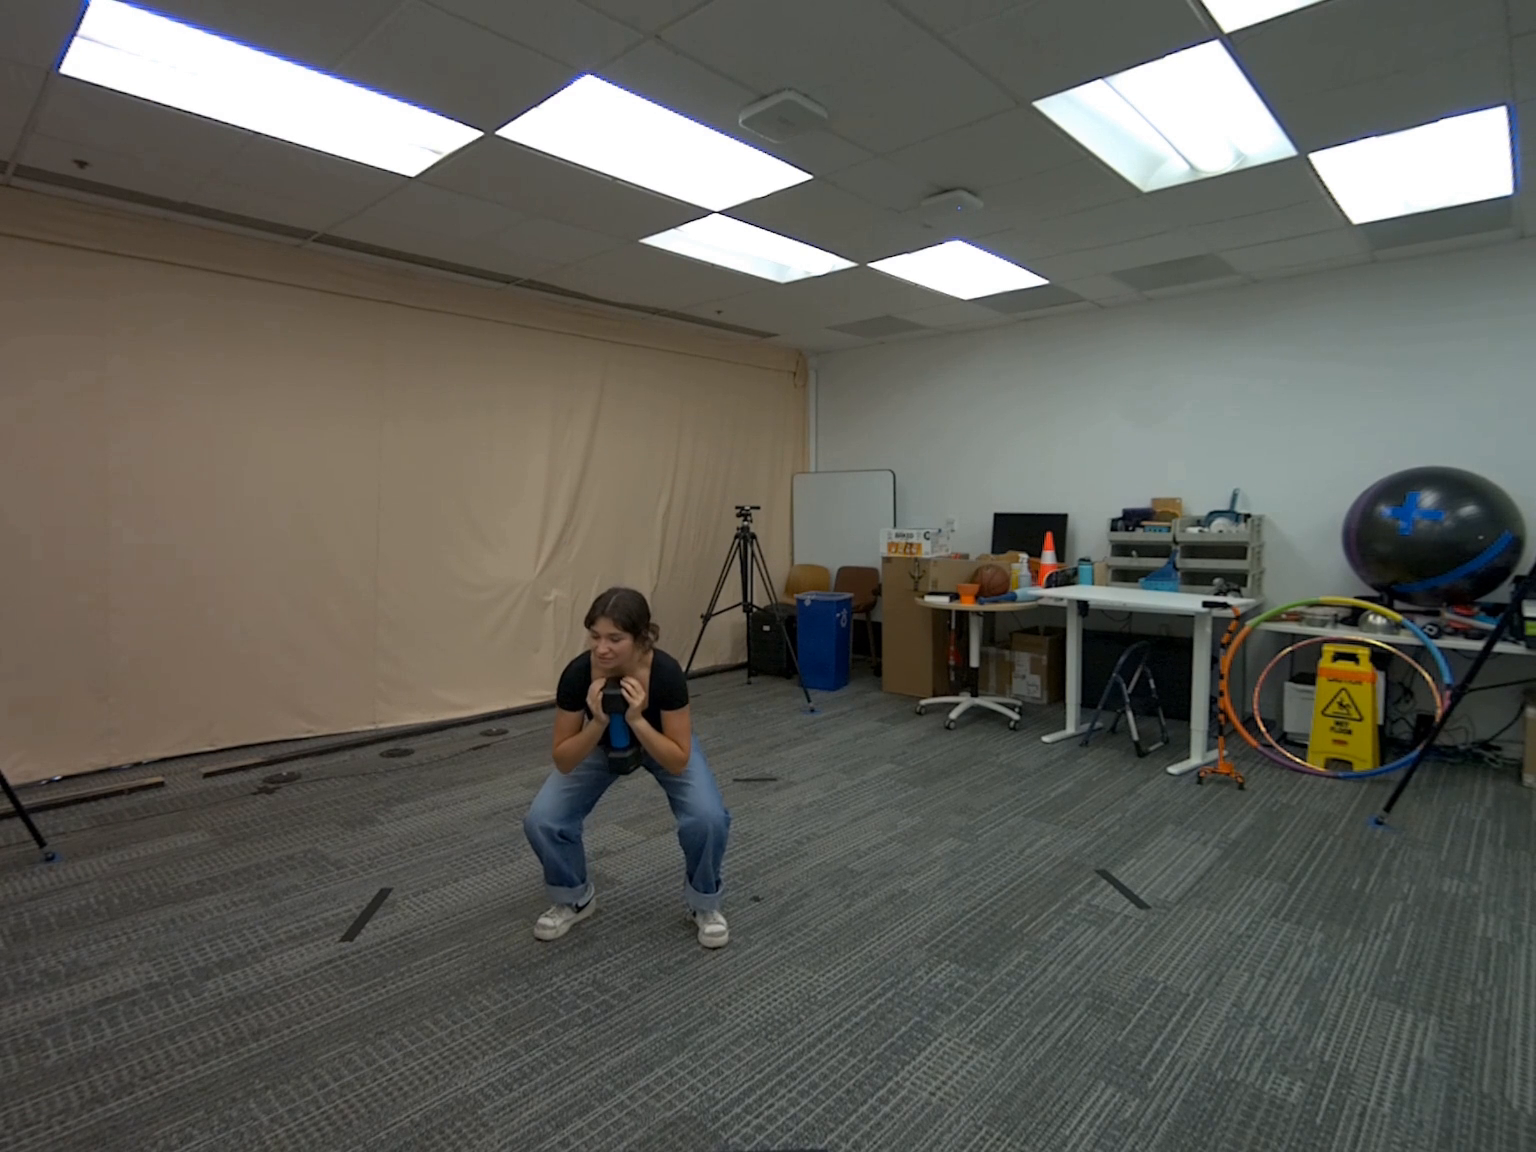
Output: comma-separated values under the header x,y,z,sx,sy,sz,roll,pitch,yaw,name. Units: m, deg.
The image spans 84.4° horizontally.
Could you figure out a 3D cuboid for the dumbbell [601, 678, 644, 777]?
x,y,z,sx,sy,sz,roll,pitch,yaw,name
-0.456,0.456,2.591,0.112,0.290,0.121,10,22,29,dumbbell
